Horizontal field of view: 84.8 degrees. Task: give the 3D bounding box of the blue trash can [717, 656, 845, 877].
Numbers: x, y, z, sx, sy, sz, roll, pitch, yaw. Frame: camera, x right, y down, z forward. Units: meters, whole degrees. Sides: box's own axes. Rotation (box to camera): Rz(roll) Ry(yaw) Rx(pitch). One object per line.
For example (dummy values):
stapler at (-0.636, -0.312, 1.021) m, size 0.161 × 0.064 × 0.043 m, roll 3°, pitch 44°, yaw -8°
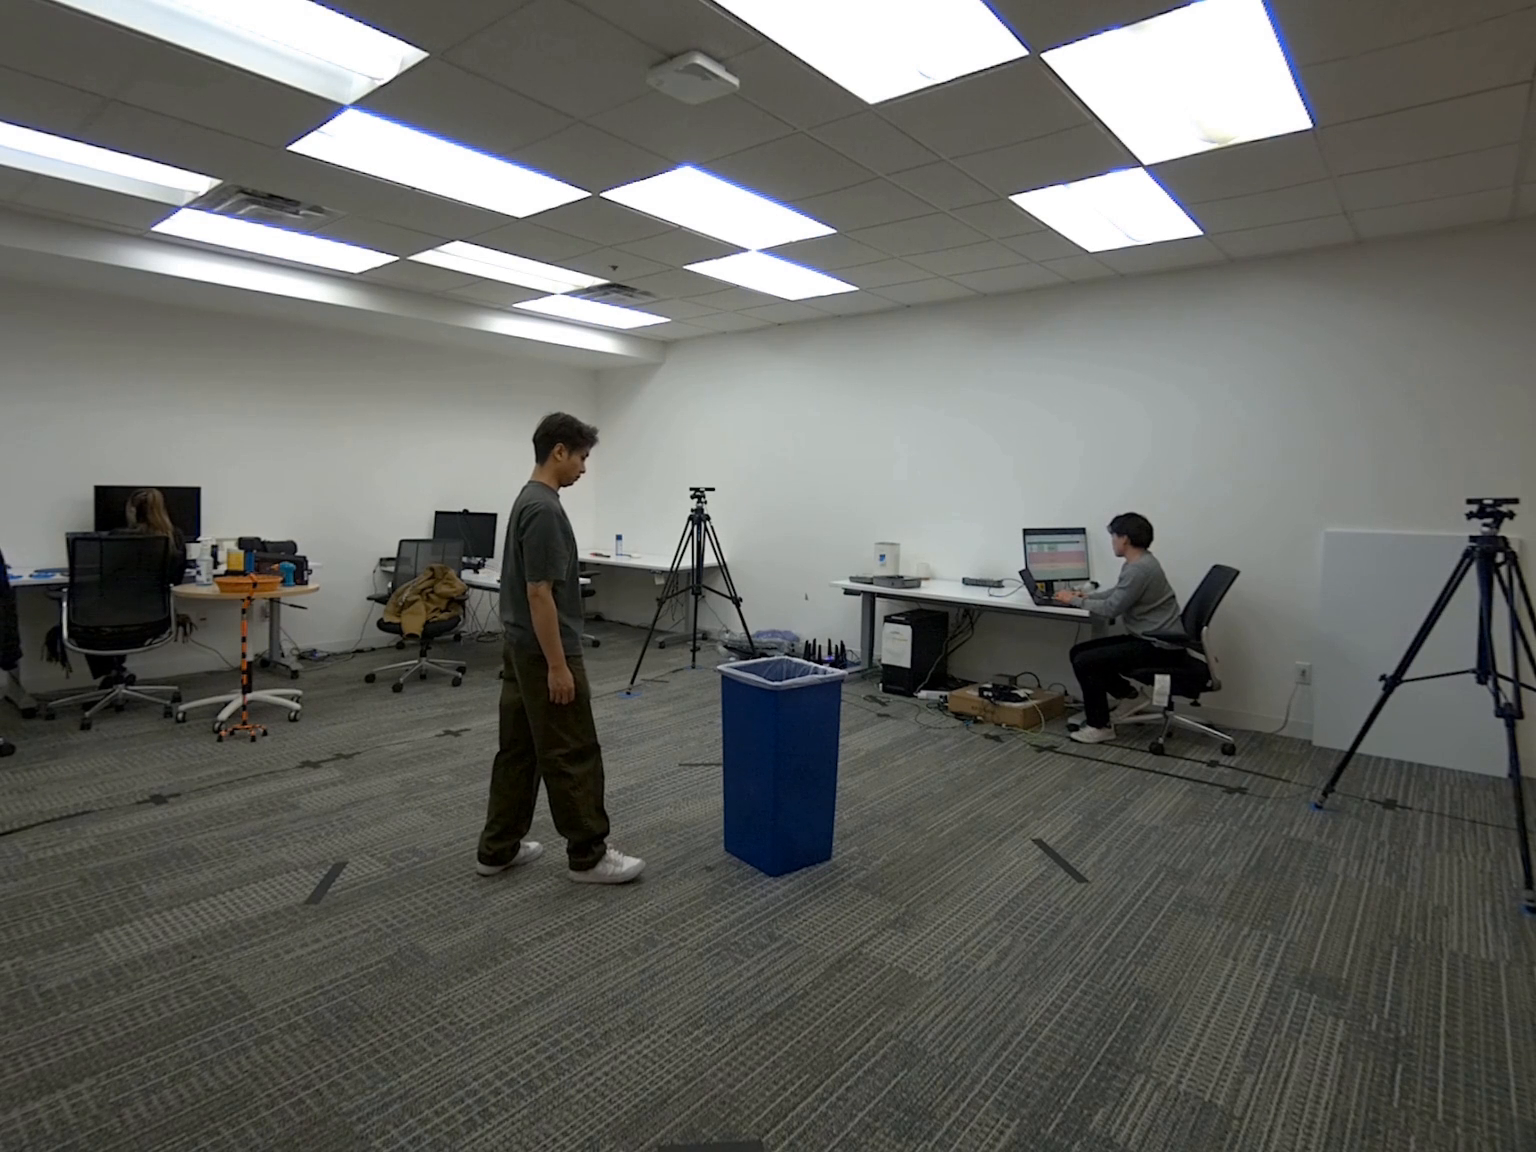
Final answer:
blue trash can at (0.040, 0.705, 3.224) m, size 0.367 × 0.712 × 0.386 m, roll -2°, pitch 4°, yaw -40°
